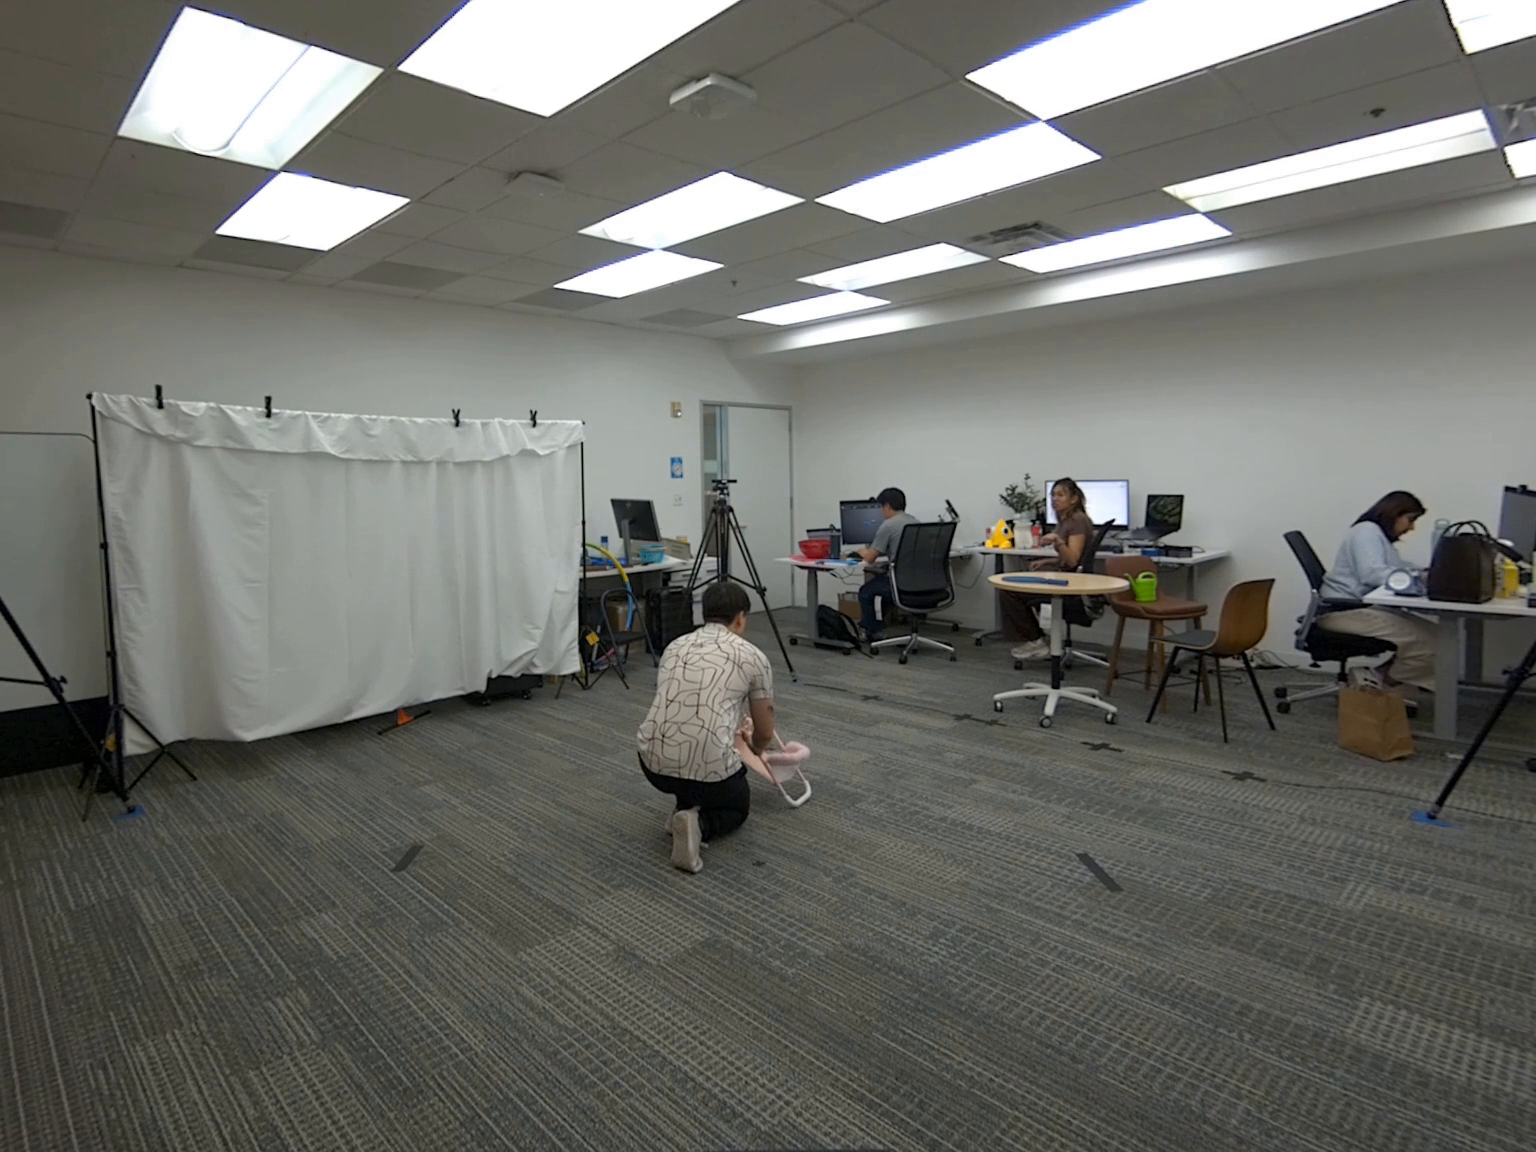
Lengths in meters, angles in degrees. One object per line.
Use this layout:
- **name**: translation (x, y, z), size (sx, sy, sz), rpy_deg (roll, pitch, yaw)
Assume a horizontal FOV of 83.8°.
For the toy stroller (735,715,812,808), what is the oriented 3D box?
- **toy stroller**: translation (-0.048, 0.753, 3.792), size (0.551, 0.339, 0.274), rpy_deg (14, 8, 29)
